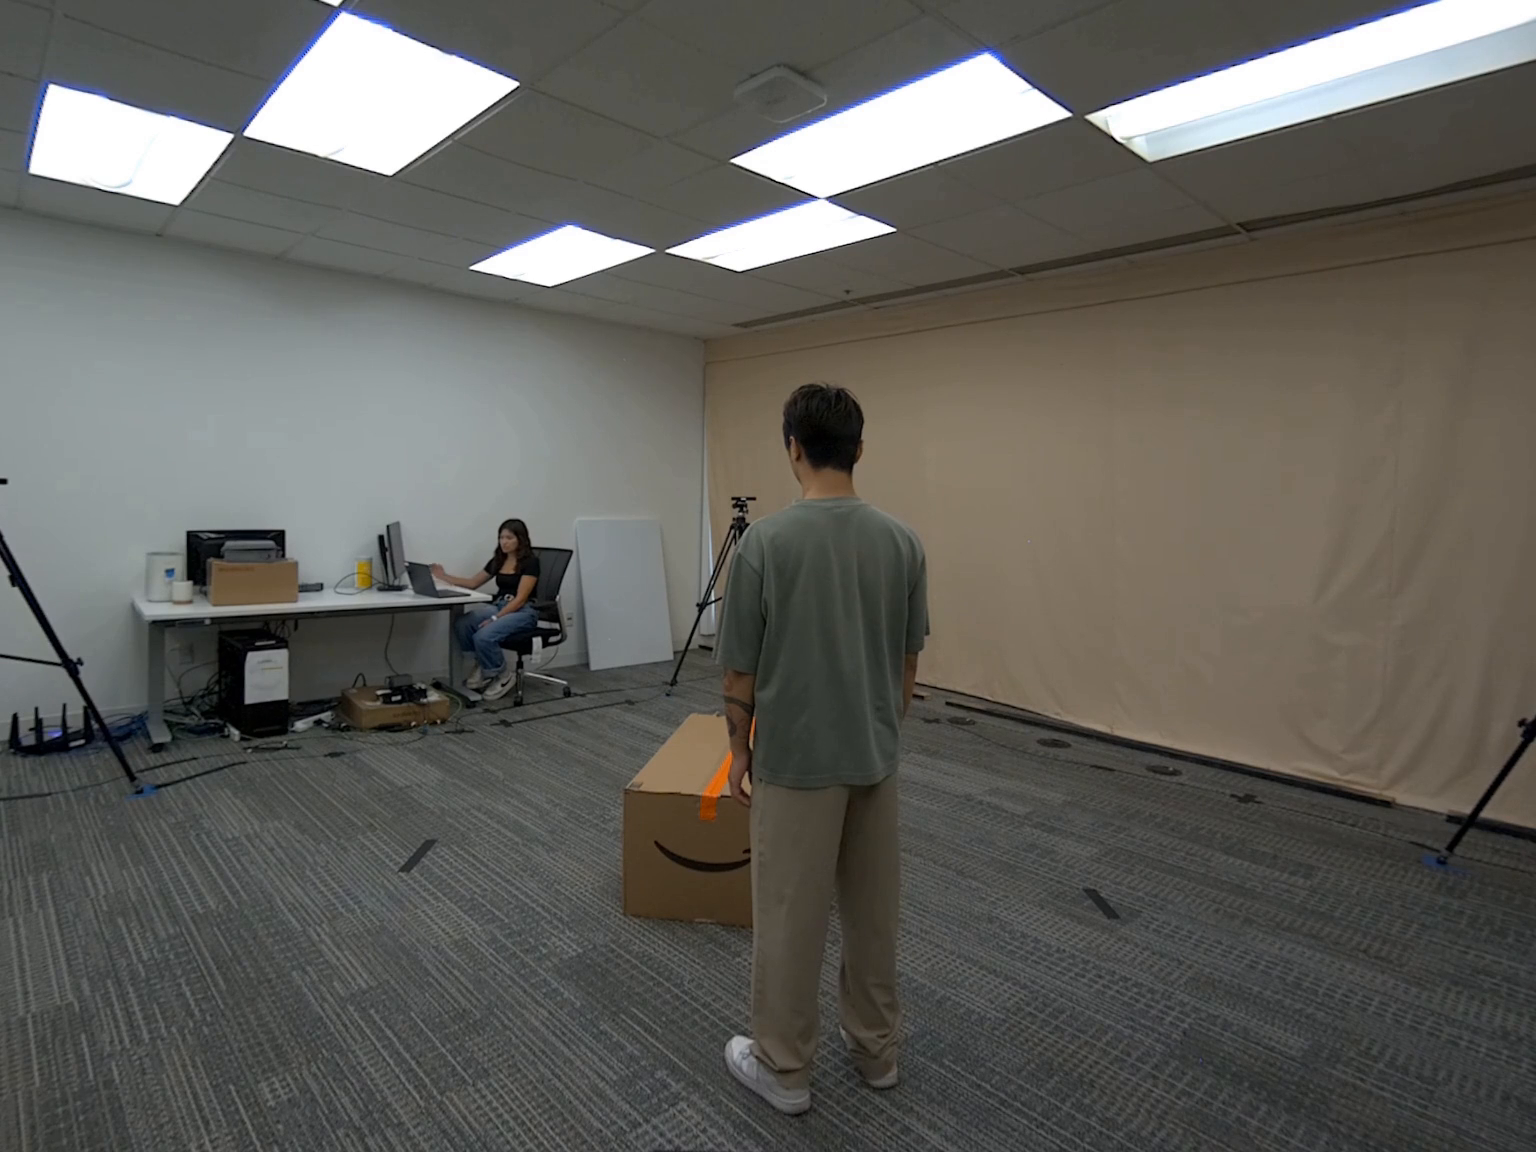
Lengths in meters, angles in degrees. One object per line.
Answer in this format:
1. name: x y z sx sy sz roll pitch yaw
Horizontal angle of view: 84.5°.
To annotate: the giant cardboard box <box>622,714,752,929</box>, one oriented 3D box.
1. giant cardboard box: -0.140 0.879 3.243 0.581 0.425 1.022 1 5 7
